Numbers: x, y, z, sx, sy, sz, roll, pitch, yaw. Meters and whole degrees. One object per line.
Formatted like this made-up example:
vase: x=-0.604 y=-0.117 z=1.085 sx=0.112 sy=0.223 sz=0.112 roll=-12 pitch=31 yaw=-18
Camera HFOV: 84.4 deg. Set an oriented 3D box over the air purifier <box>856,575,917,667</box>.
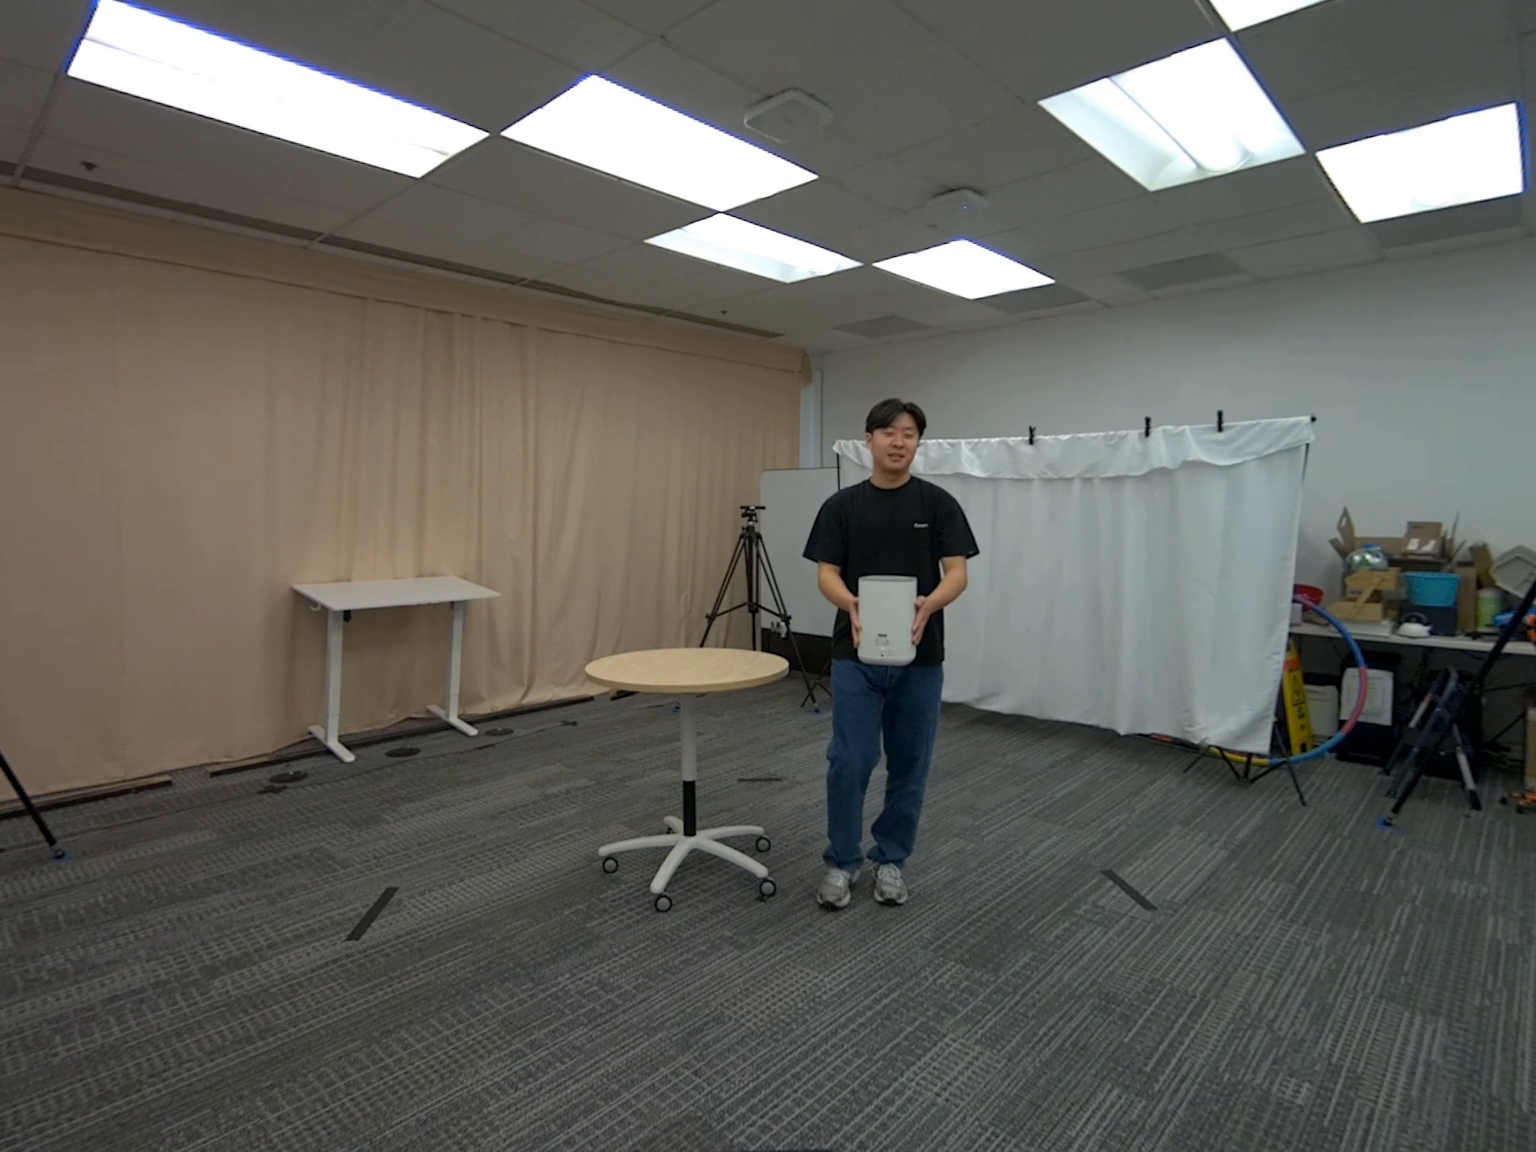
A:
air purifier: x=0.370 y=0.136 z=2.640 sx=0.174 sy=0.265 sz=0.168 roll=0 pitch=2 yaw=18
